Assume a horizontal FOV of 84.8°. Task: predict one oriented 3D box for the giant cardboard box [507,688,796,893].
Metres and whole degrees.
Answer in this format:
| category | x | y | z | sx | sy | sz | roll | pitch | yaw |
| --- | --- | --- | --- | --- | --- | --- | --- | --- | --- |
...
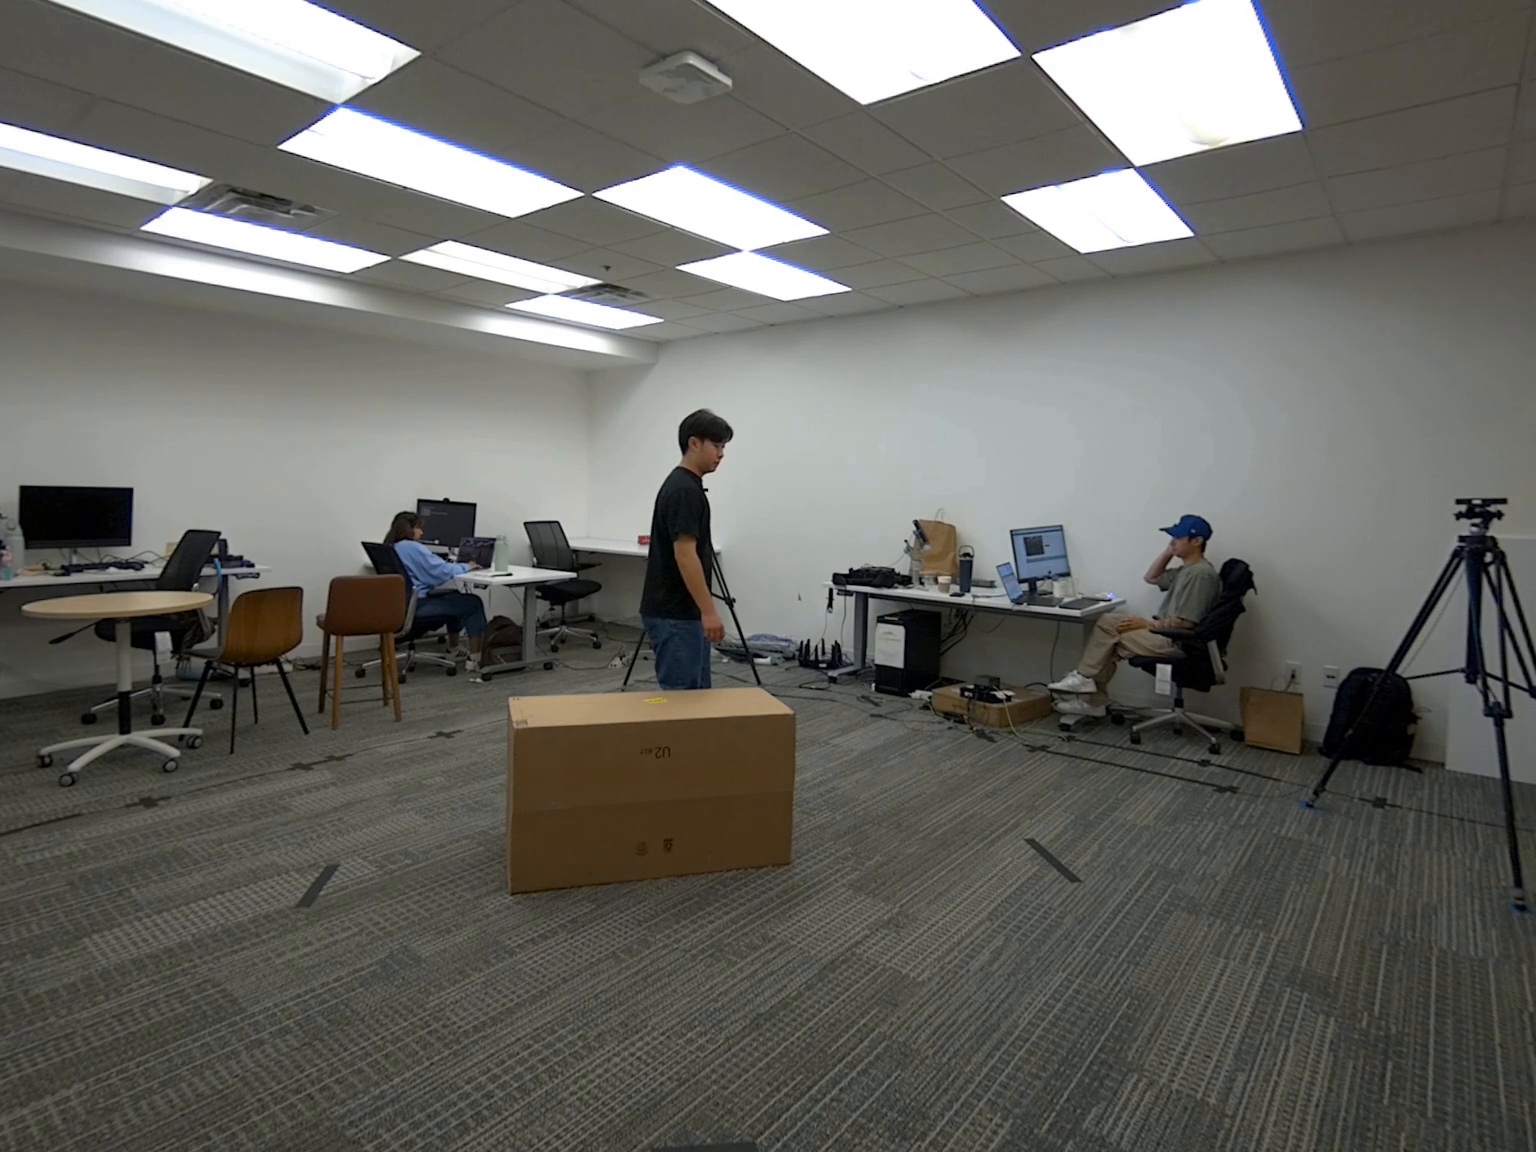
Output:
| category | x | y | z | sx | sy | sz | roll | pitch | yaw |
| --- | --- | --- | --- | --- | --- | --- | --- | --- | --- |
| giant cardboard box | -0.462 | 0.767 | 3.210 | 1.008 | 0.583 | 0.456 | 0 | 3 | -18 |
